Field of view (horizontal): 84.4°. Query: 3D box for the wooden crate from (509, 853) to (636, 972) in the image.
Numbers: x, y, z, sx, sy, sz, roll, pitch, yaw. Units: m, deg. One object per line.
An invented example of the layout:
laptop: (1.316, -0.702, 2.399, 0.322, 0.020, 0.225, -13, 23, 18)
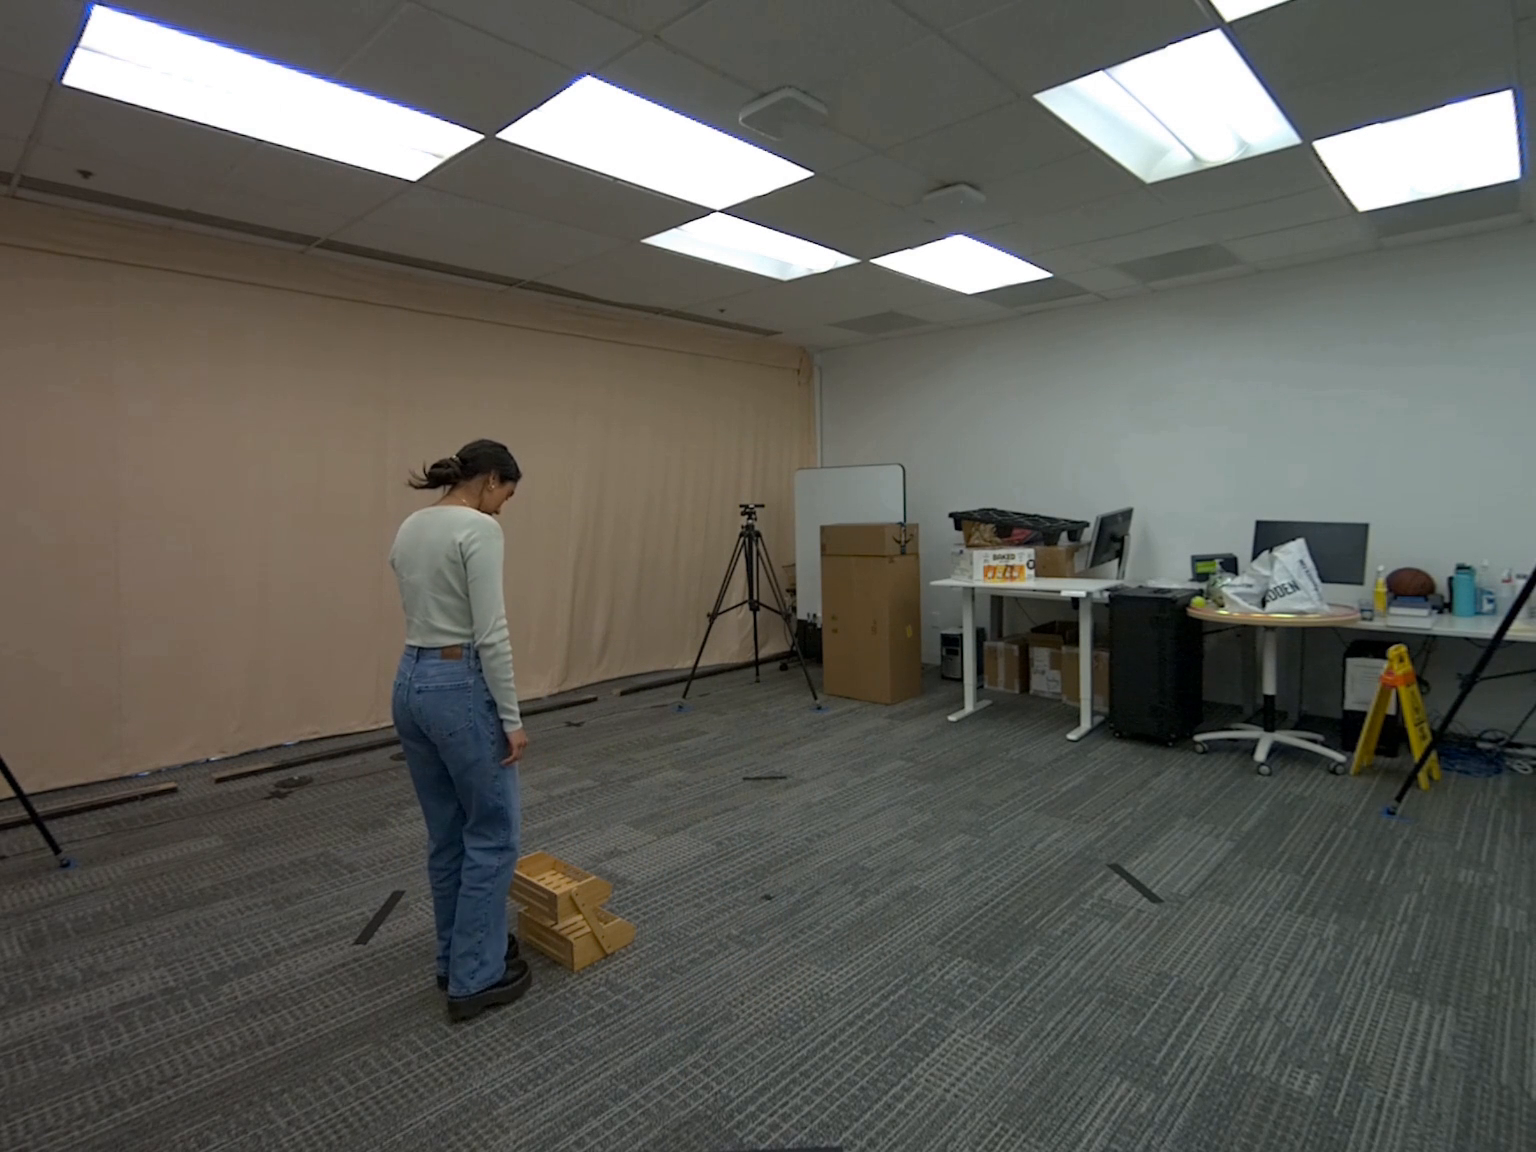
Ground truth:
wooden crate: (-0.638, 1.045, 2.693, 0.335, 0.272, 0.293, 2, 6, 42)
